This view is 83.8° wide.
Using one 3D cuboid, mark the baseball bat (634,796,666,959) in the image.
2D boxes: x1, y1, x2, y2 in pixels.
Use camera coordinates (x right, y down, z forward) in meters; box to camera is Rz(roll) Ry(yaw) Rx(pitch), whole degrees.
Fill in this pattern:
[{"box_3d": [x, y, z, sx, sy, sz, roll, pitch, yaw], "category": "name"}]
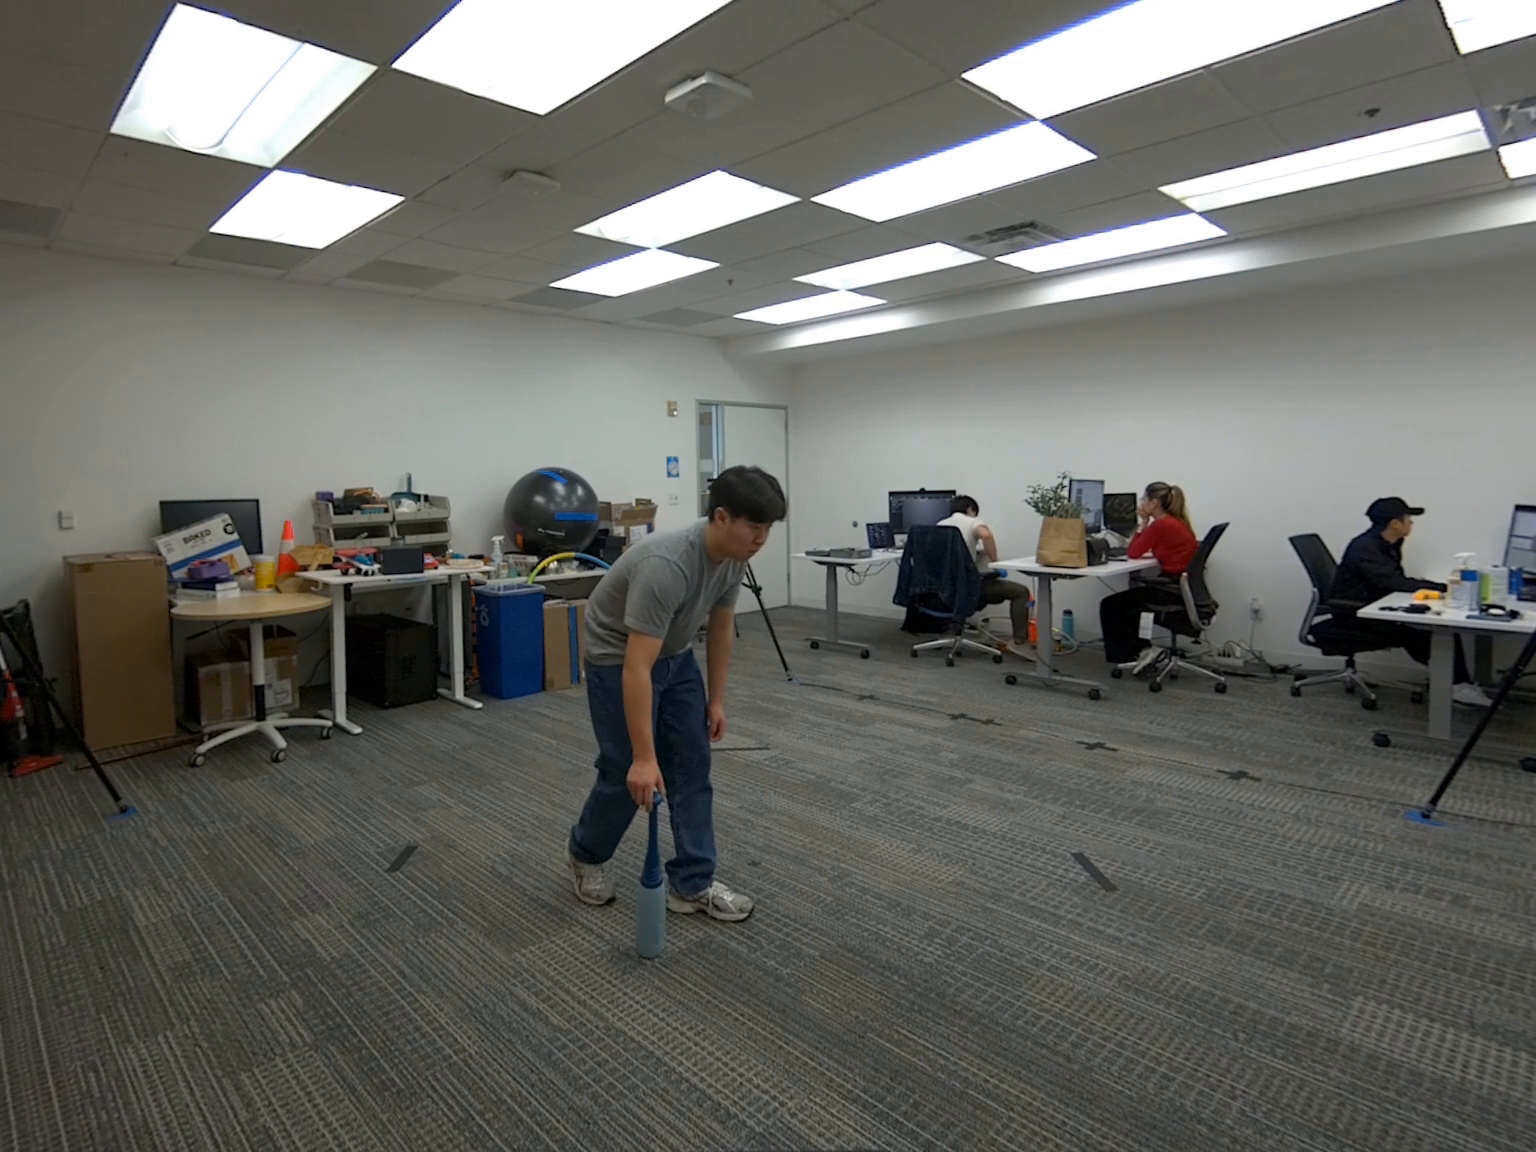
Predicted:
[{"box_3d": [-0.332, 0.868, 2.453, 0.089, 0.535, 0.090, 3, 19, -3], "category": "baseball bat"}]
